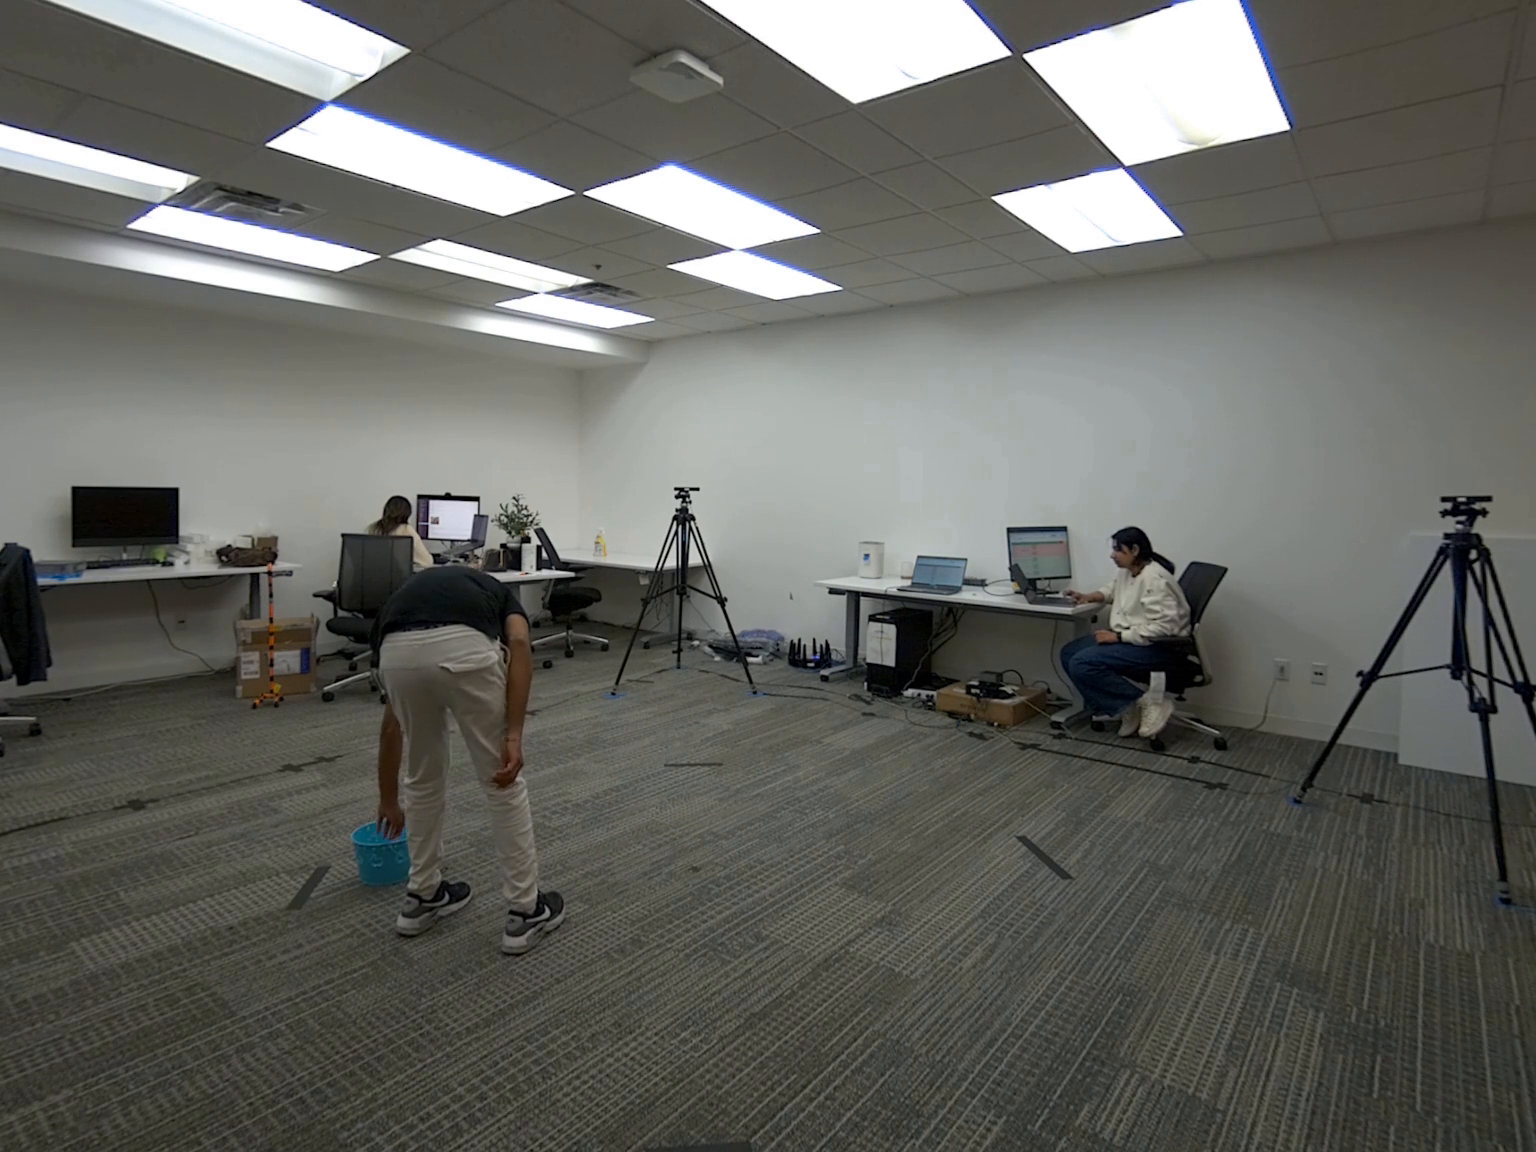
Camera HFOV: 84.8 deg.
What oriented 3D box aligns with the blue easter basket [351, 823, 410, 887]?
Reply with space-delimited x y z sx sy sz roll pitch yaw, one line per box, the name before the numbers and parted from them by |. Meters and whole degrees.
blue easter basket | -1.371 0.984 3.021 0.243 0.155 0.245 0 5 -2
